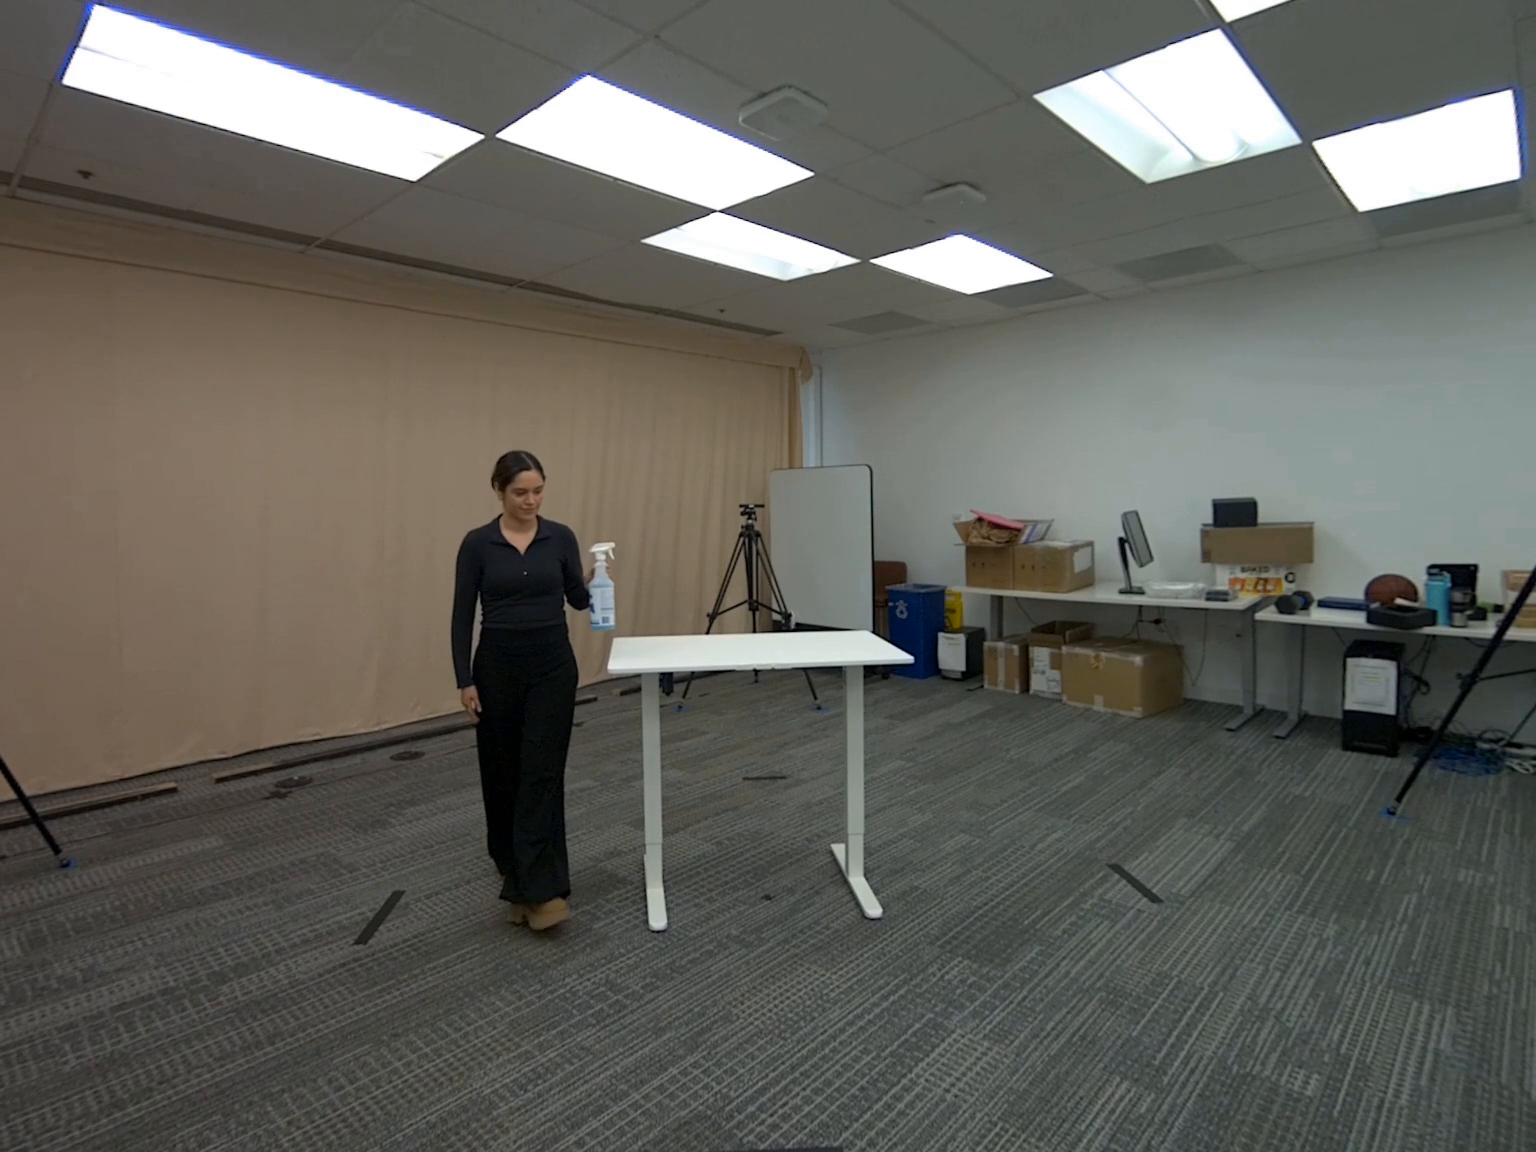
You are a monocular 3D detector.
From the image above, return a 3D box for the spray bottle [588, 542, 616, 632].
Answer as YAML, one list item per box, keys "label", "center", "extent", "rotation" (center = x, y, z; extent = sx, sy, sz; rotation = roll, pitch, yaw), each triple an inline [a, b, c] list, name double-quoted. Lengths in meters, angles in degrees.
- label: "spray bottle"
  center: [-0.568, 0.034, 2.898]
  extent: [0.093, 0.297, 0.084]
  rotation: [-1, 4, 39]
